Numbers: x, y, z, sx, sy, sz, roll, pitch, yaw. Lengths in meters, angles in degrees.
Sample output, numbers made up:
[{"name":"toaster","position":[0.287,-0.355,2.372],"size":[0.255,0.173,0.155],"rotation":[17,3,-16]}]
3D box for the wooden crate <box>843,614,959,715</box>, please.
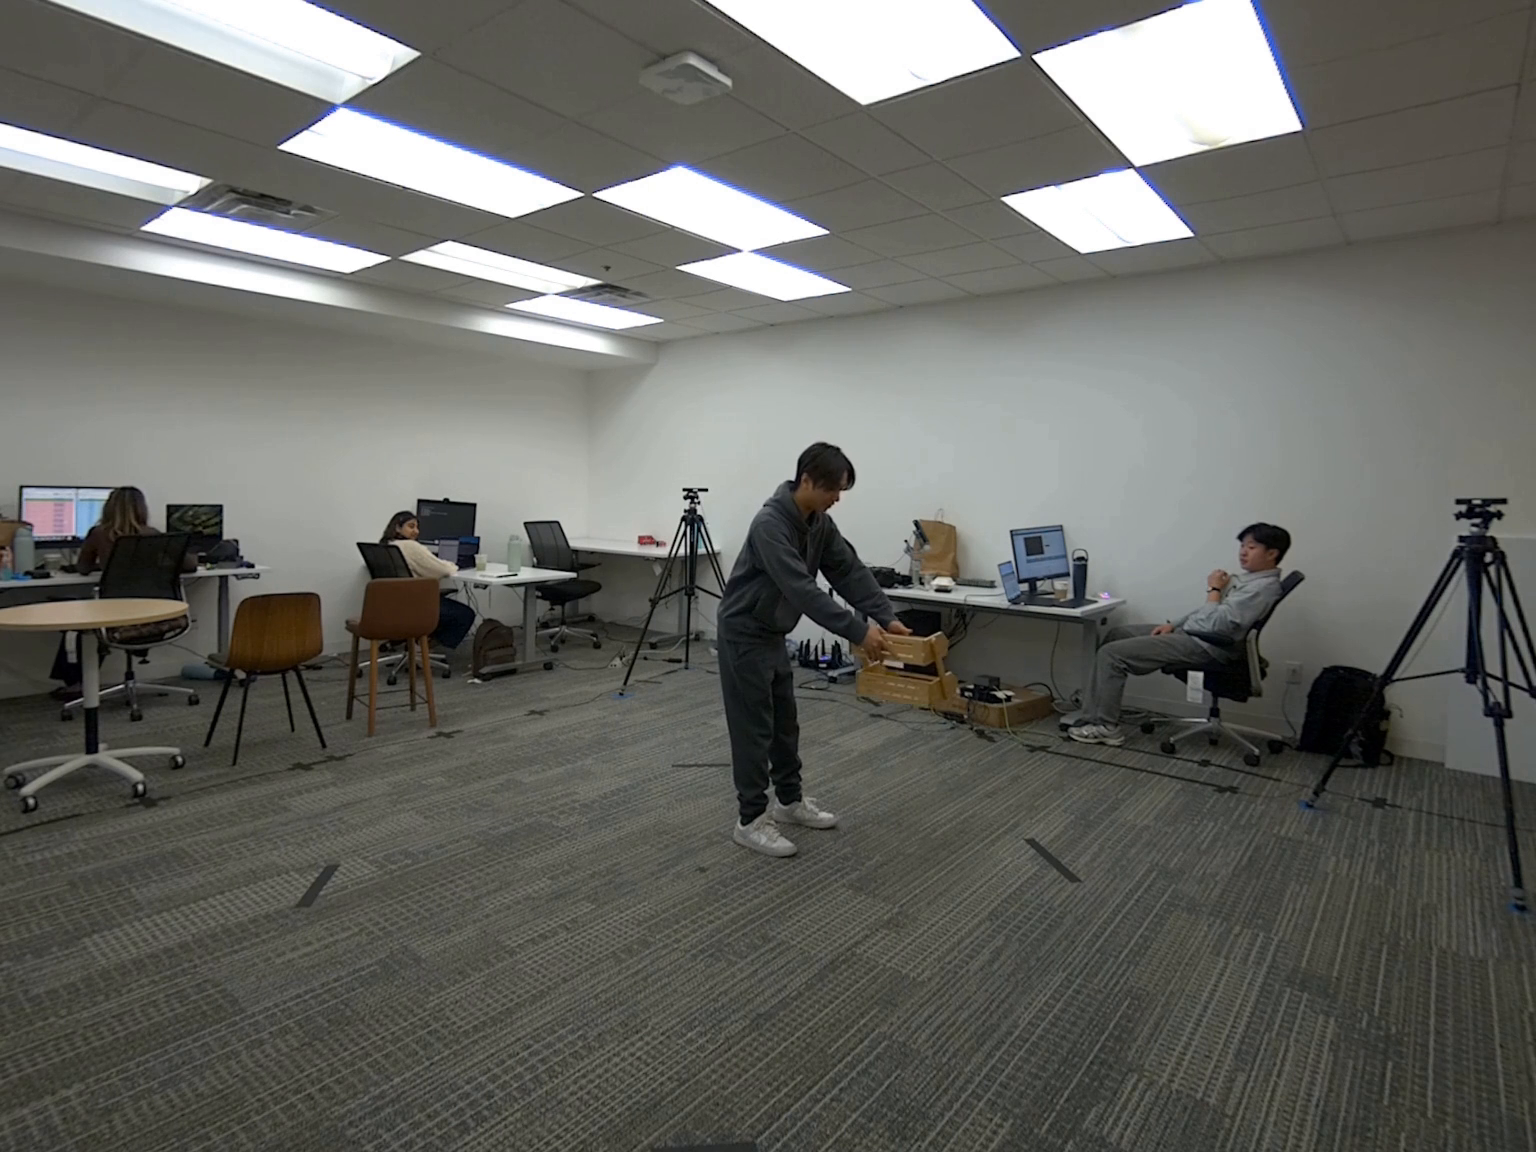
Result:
[{"name":"wooden crate","position":[0.502,0.317,3.177],"size":[0.335,0.271,0.294],"rotation":[5,10,36]}]
